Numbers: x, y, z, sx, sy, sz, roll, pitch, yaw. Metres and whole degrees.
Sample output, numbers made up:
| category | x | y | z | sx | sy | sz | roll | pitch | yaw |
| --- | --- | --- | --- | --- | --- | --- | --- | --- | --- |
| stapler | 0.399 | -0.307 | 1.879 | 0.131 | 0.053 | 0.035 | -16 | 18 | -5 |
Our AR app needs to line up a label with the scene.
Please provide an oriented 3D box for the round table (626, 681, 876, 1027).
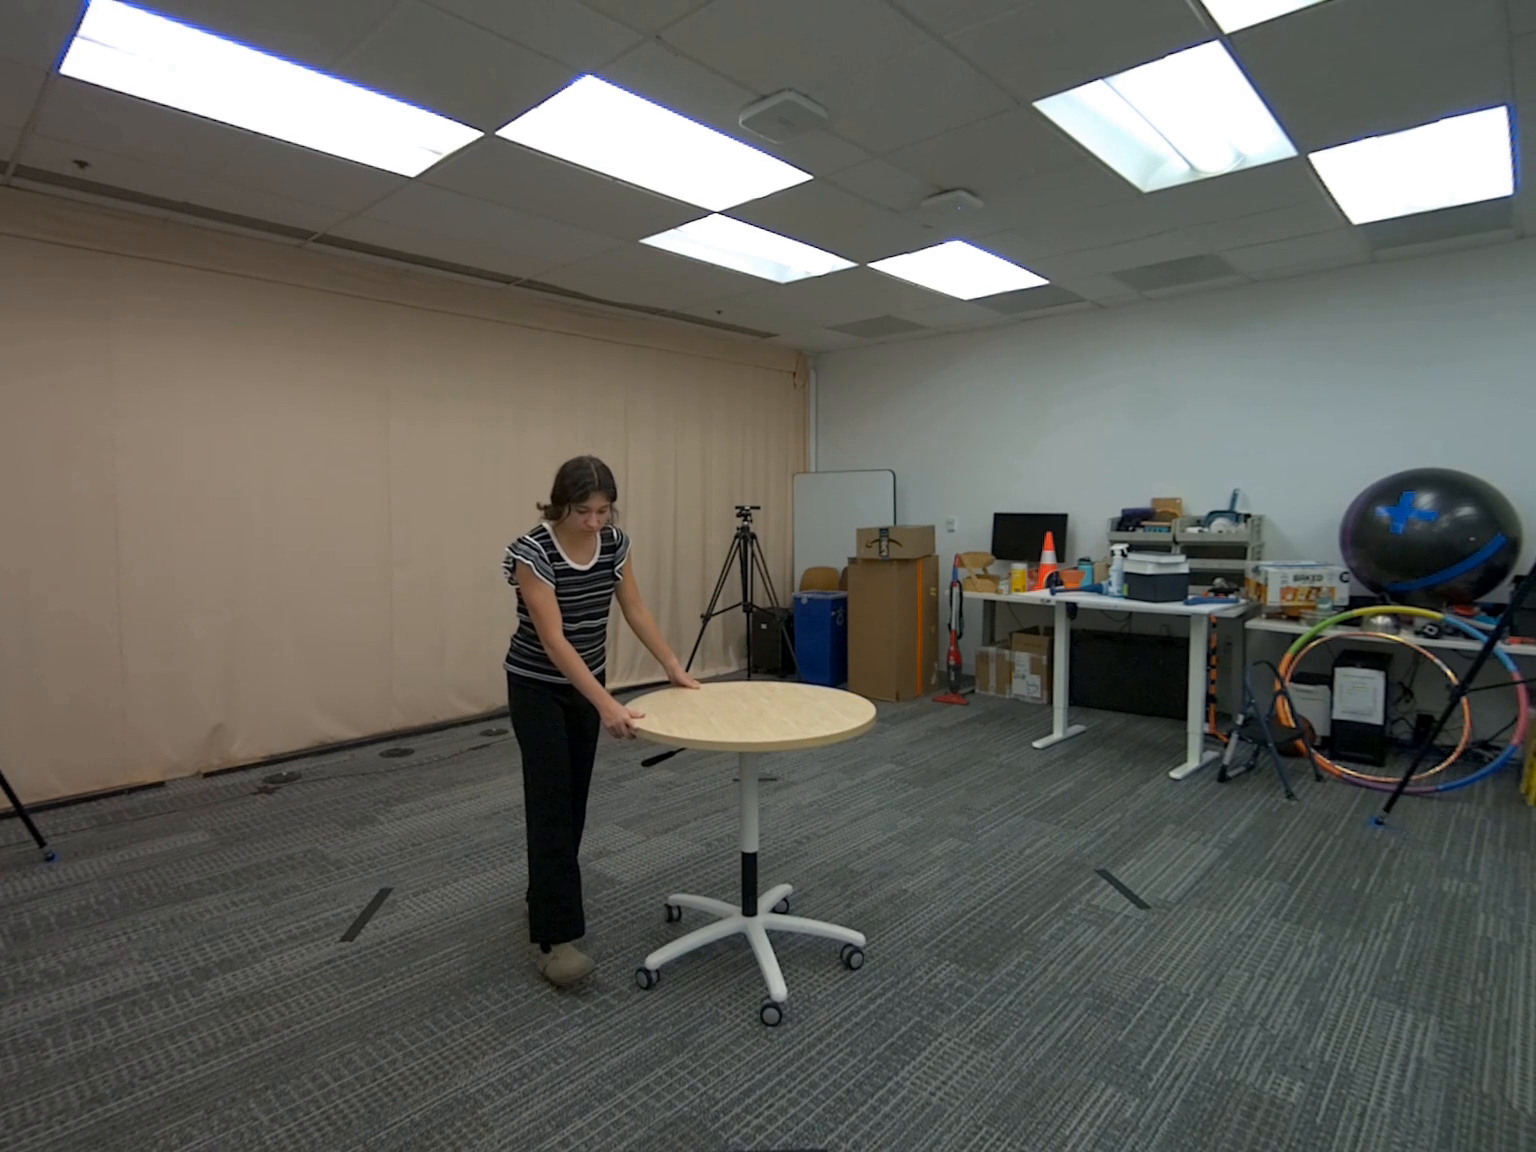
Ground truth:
| category | x | y | z | sx | sy | sz | roll | pitch | yaw |
| --- | --- | --- | --- | --- | --- | --- | --- | --- | --- |
| round table | -0.048 | 0.793 | 2.573 | 0.763 | 0.792 | 0.767 | 0 | 4 | -2 |
